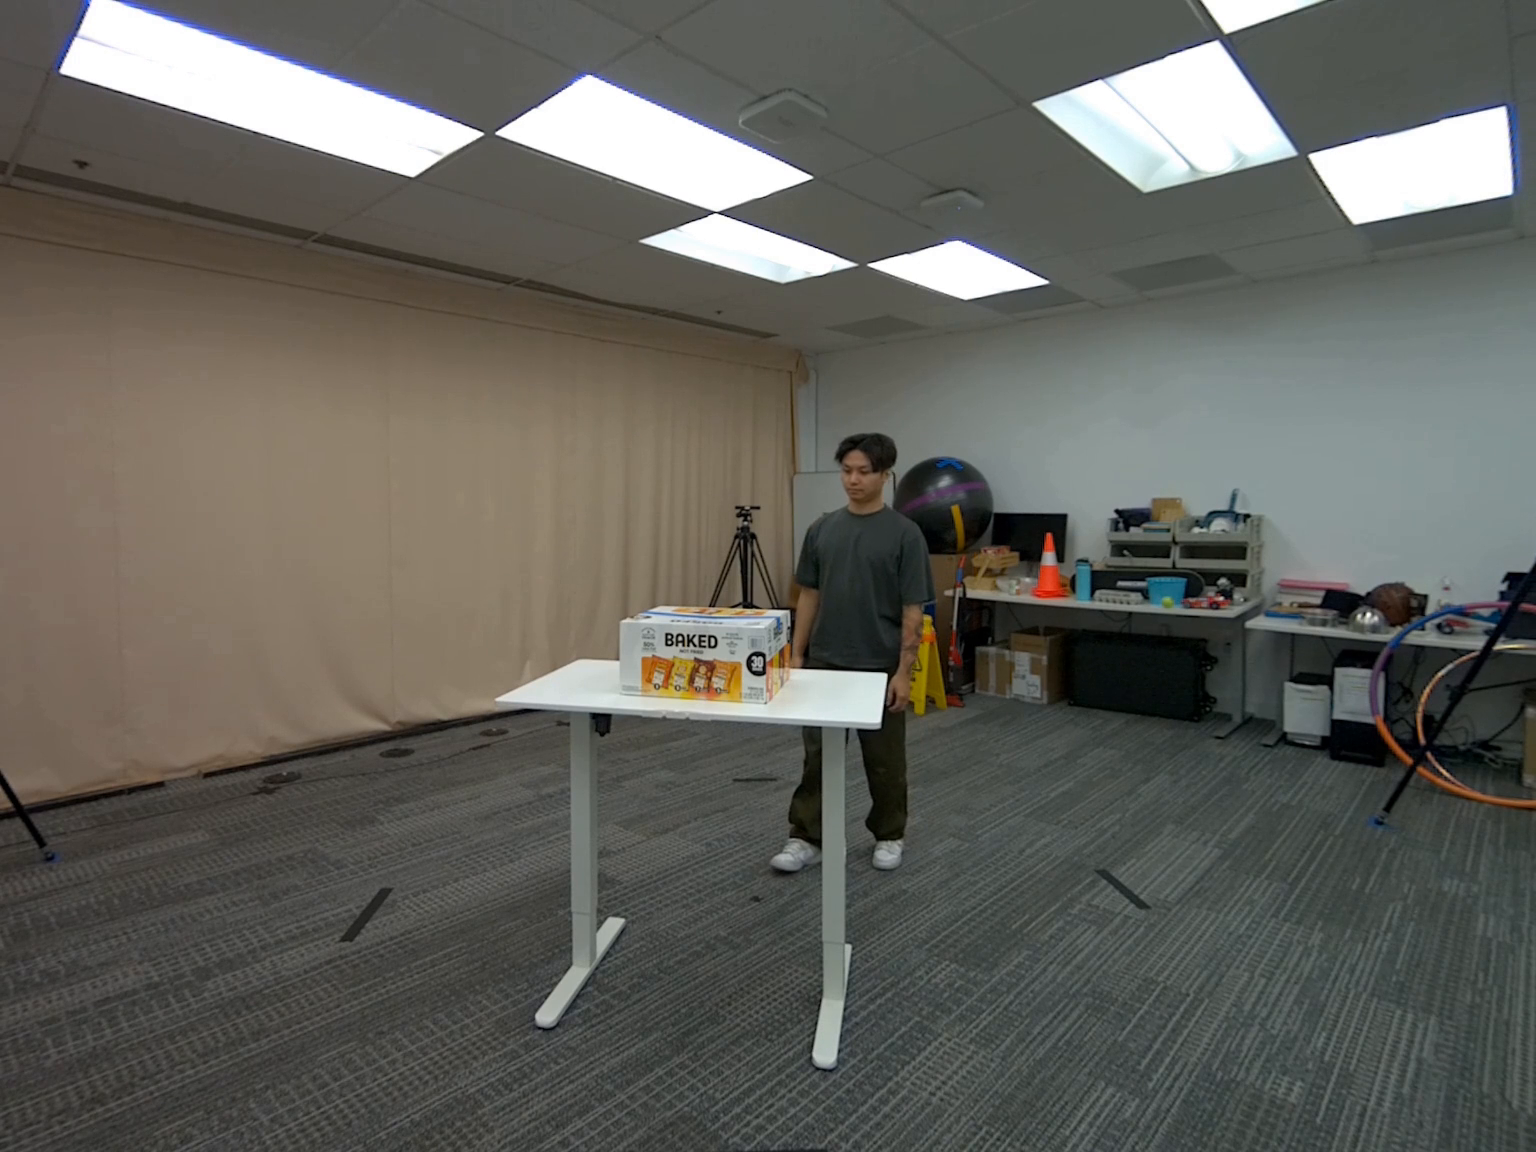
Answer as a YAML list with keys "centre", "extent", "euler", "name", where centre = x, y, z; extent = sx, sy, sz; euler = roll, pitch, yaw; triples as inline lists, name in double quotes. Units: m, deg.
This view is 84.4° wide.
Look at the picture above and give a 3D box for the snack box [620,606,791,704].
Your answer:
- centre: [-0.162, 0.212, 2.377]
  extent: [0.411, 0.205, 0.336]
  euler: [1, 4, 13]
  name: "snack box"
